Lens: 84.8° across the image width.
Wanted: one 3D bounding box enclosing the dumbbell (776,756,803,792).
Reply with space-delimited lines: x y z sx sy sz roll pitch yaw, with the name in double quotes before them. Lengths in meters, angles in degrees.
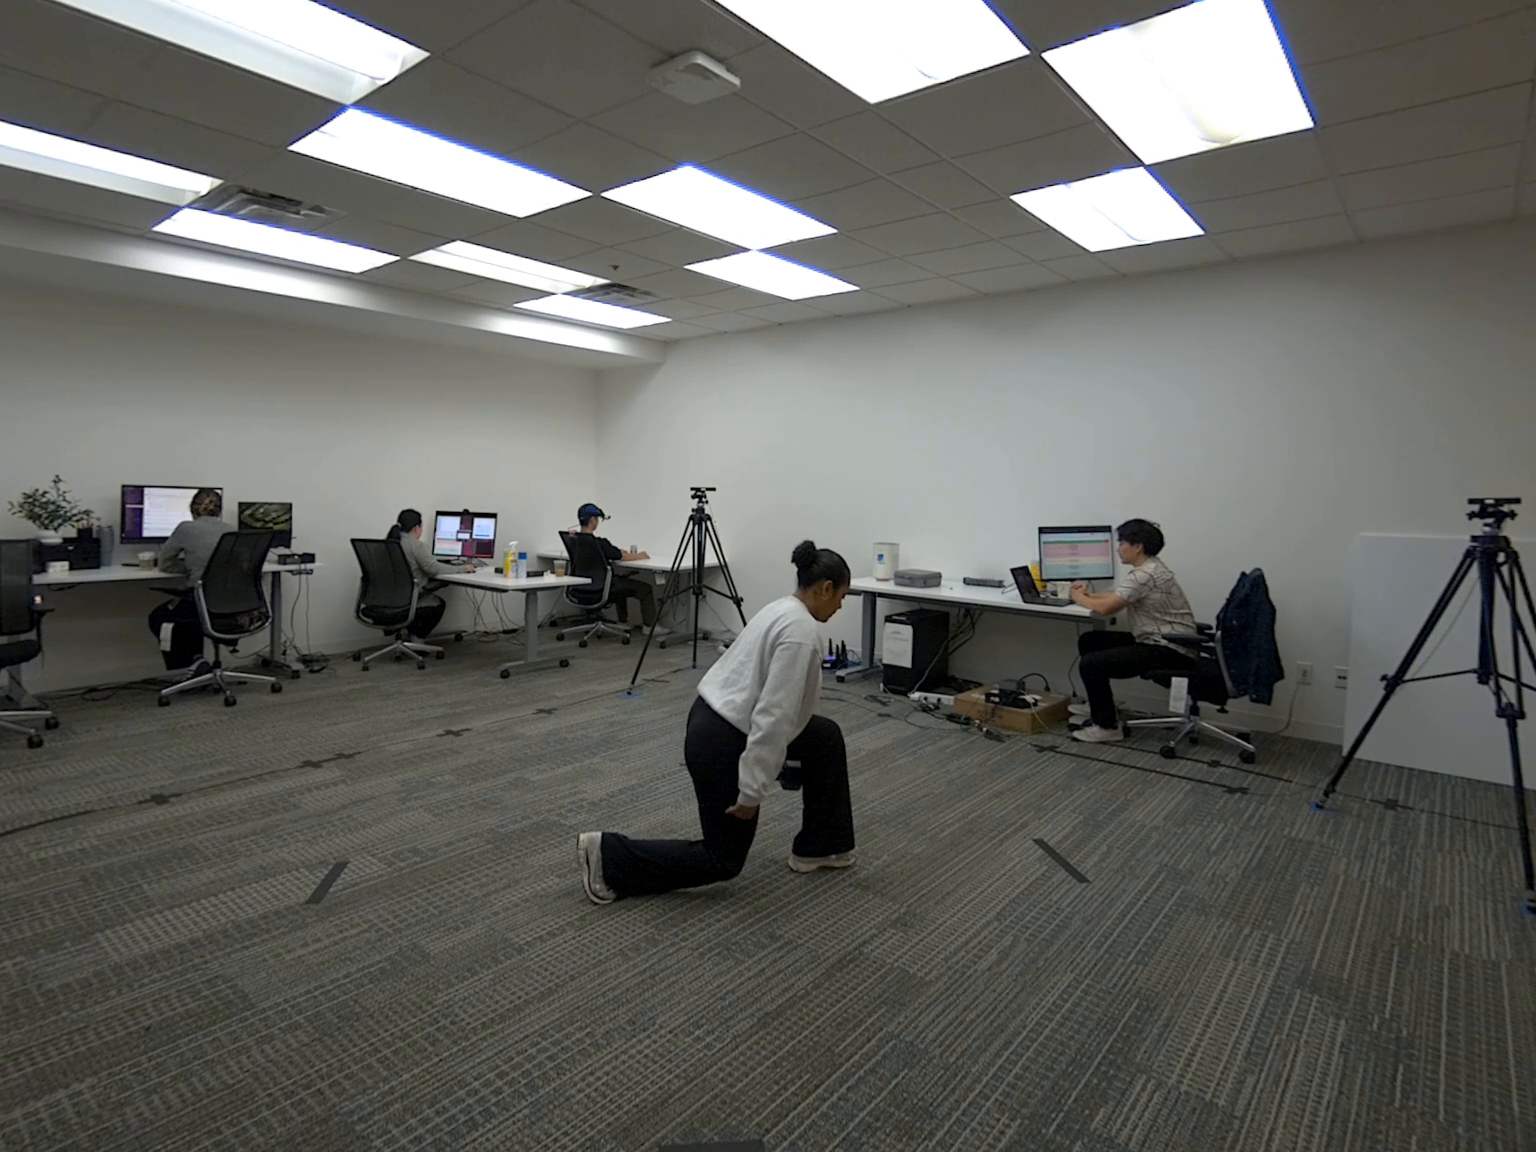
"dumbbell" -0.018 0.750 3.271 0.291 0.124 0.108 5 -12 -8
